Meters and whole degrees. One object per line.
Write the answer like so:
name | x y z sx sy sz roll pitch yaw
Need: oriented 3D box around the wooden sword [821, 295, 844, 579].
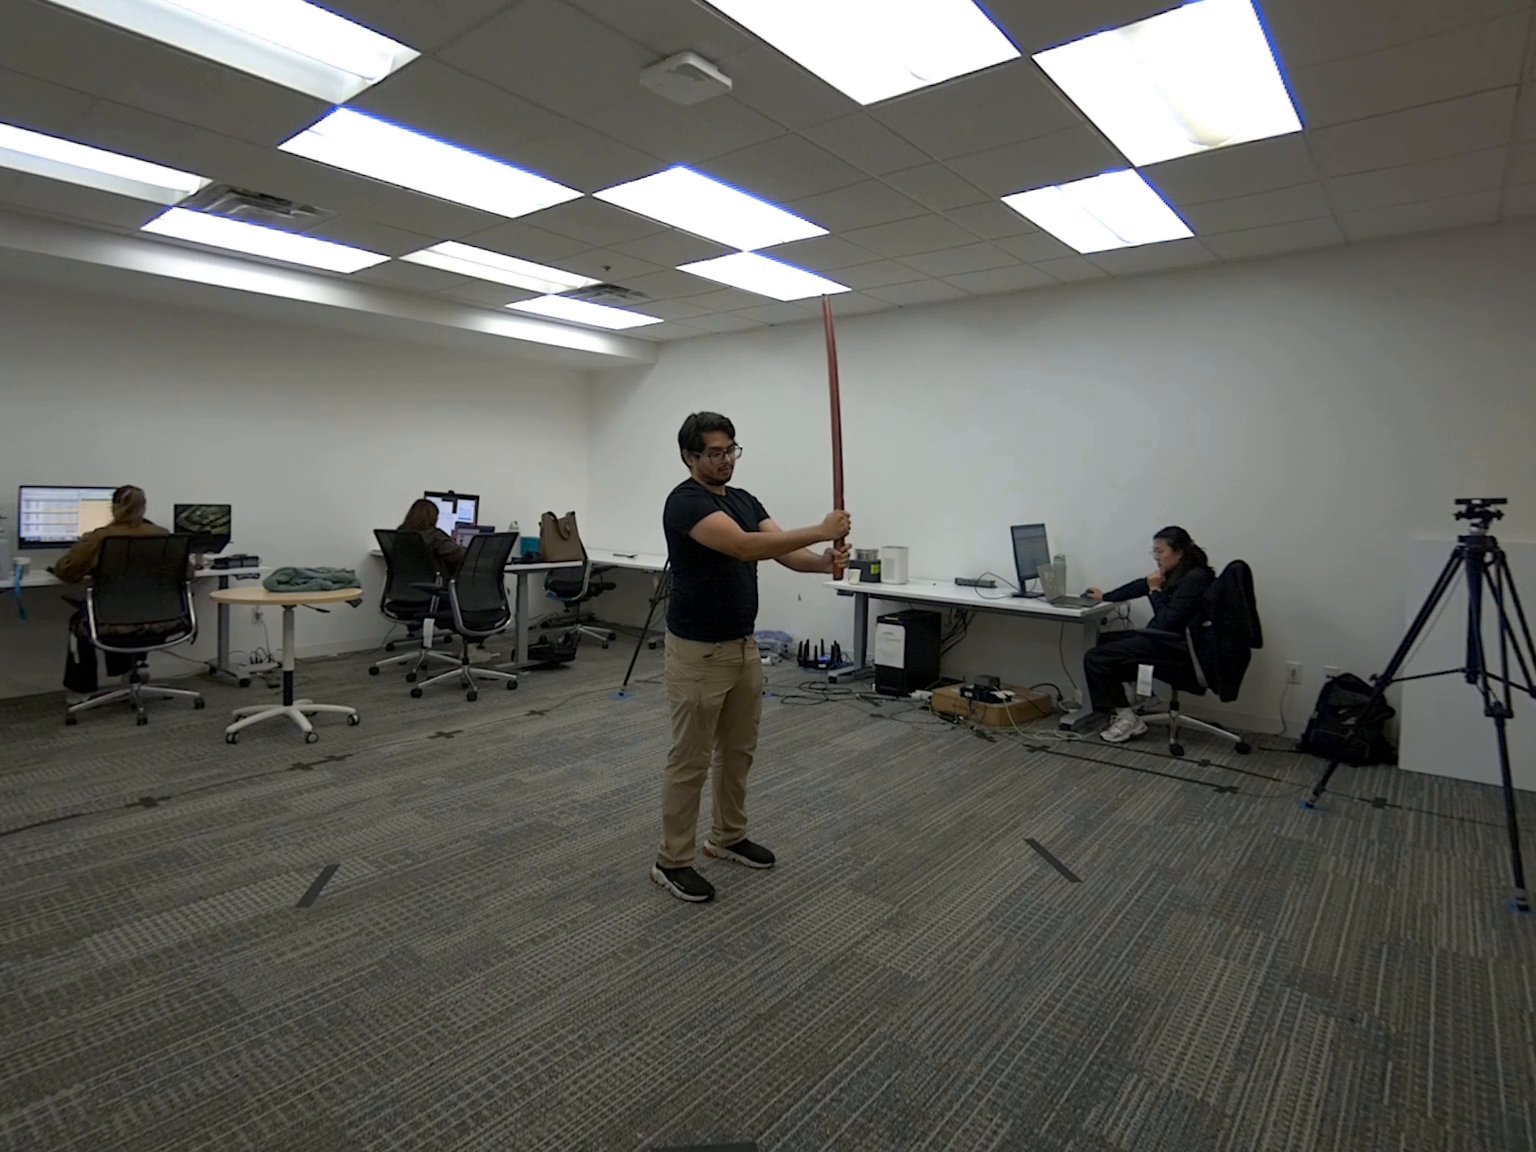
wooden sword | 0.224 -0.499 2.857 0.024 1.040 0.049 -6 -16 20
